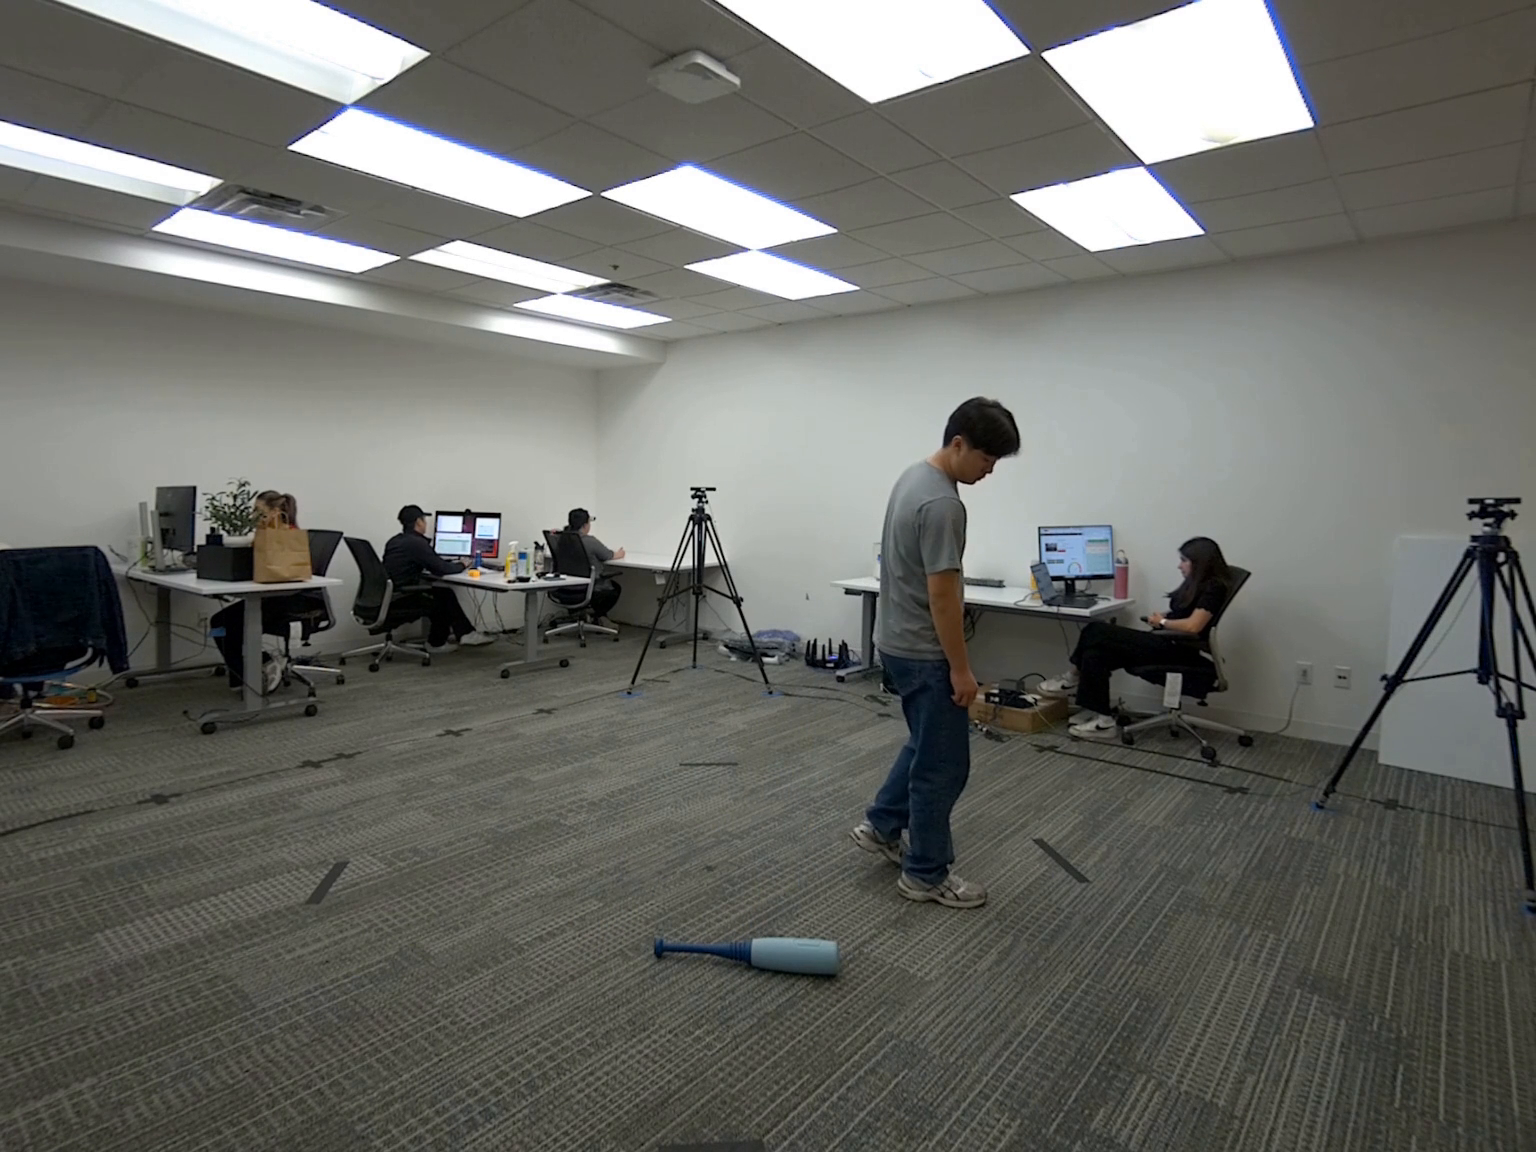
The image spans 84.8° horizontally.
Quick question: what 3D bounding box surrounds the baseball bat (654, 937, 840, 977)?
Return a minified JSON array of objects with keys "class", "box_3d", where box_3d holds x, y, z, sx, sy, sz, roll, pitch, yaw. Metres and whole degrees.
[{"class":"baseball bat","box_3d":[-0.071,1.096,2.476,0.548,0.089,0.088,-1,4,8]}]
